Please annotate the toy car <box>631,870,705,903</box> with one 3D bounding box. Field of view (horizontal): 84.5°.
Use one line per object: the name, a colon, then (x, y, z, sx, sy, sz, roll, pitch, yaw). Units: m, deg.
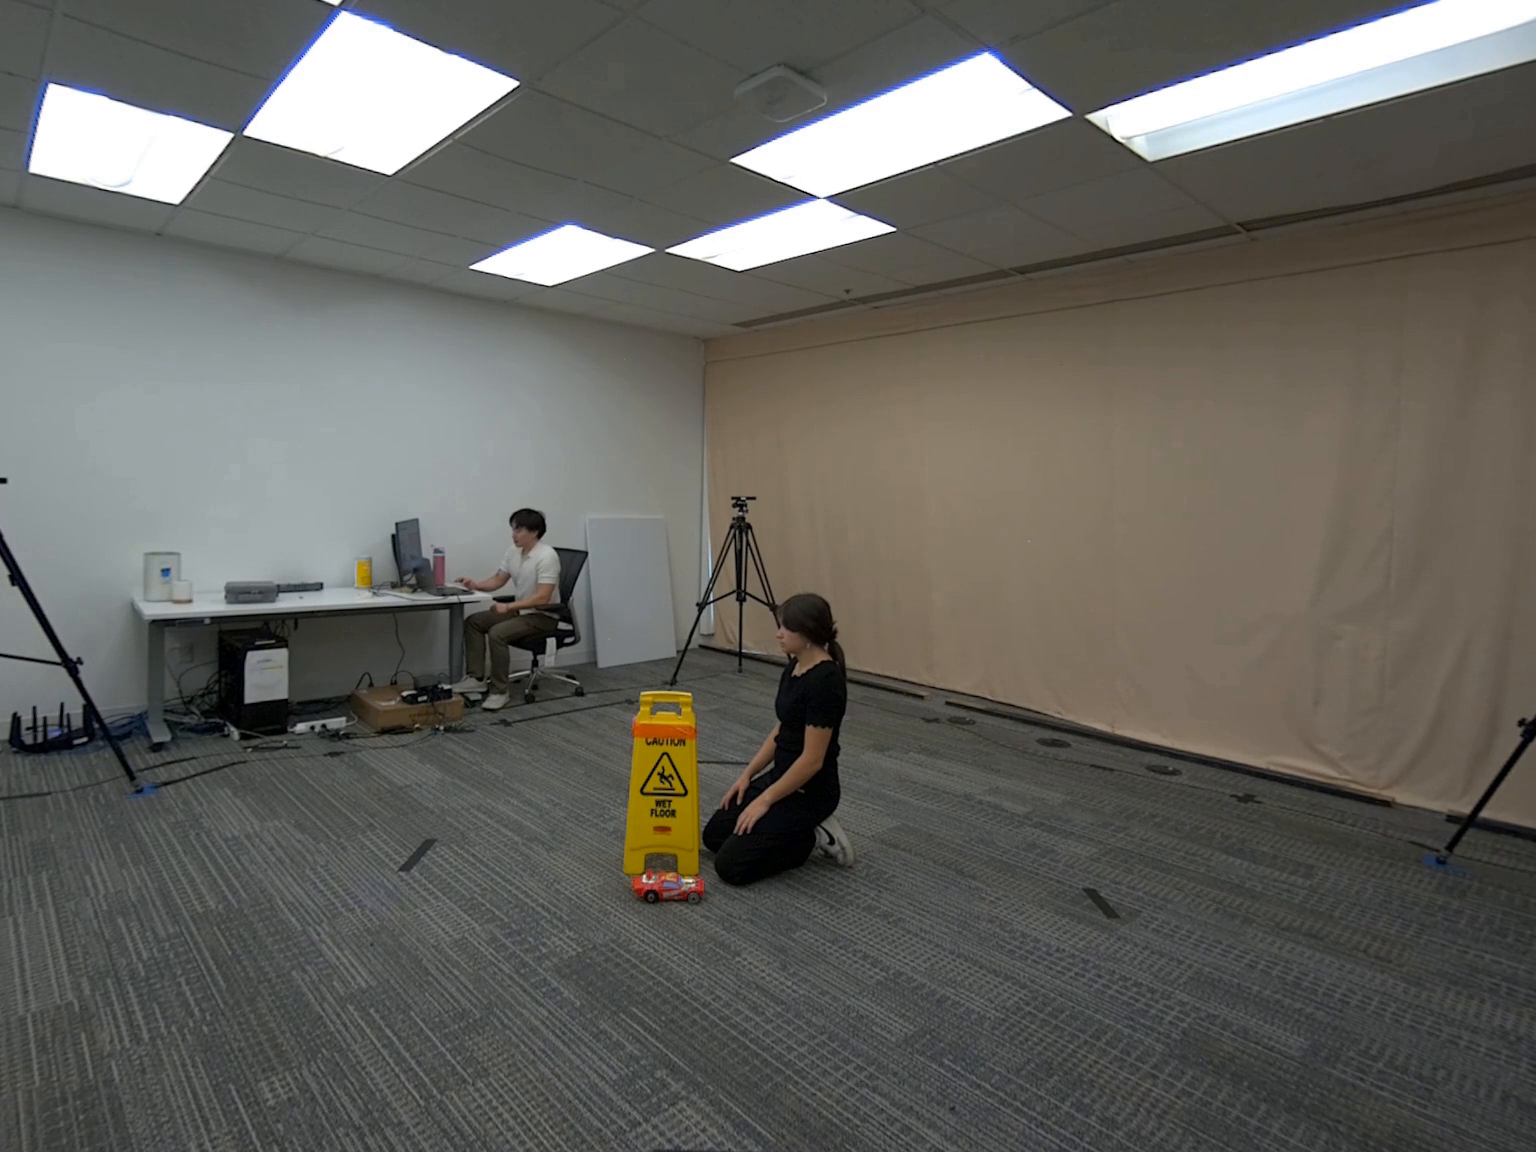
toy car: (-0.371, 1.087, 2.935, 0.254, 0.083, 0.131, 12, 5, -3)
